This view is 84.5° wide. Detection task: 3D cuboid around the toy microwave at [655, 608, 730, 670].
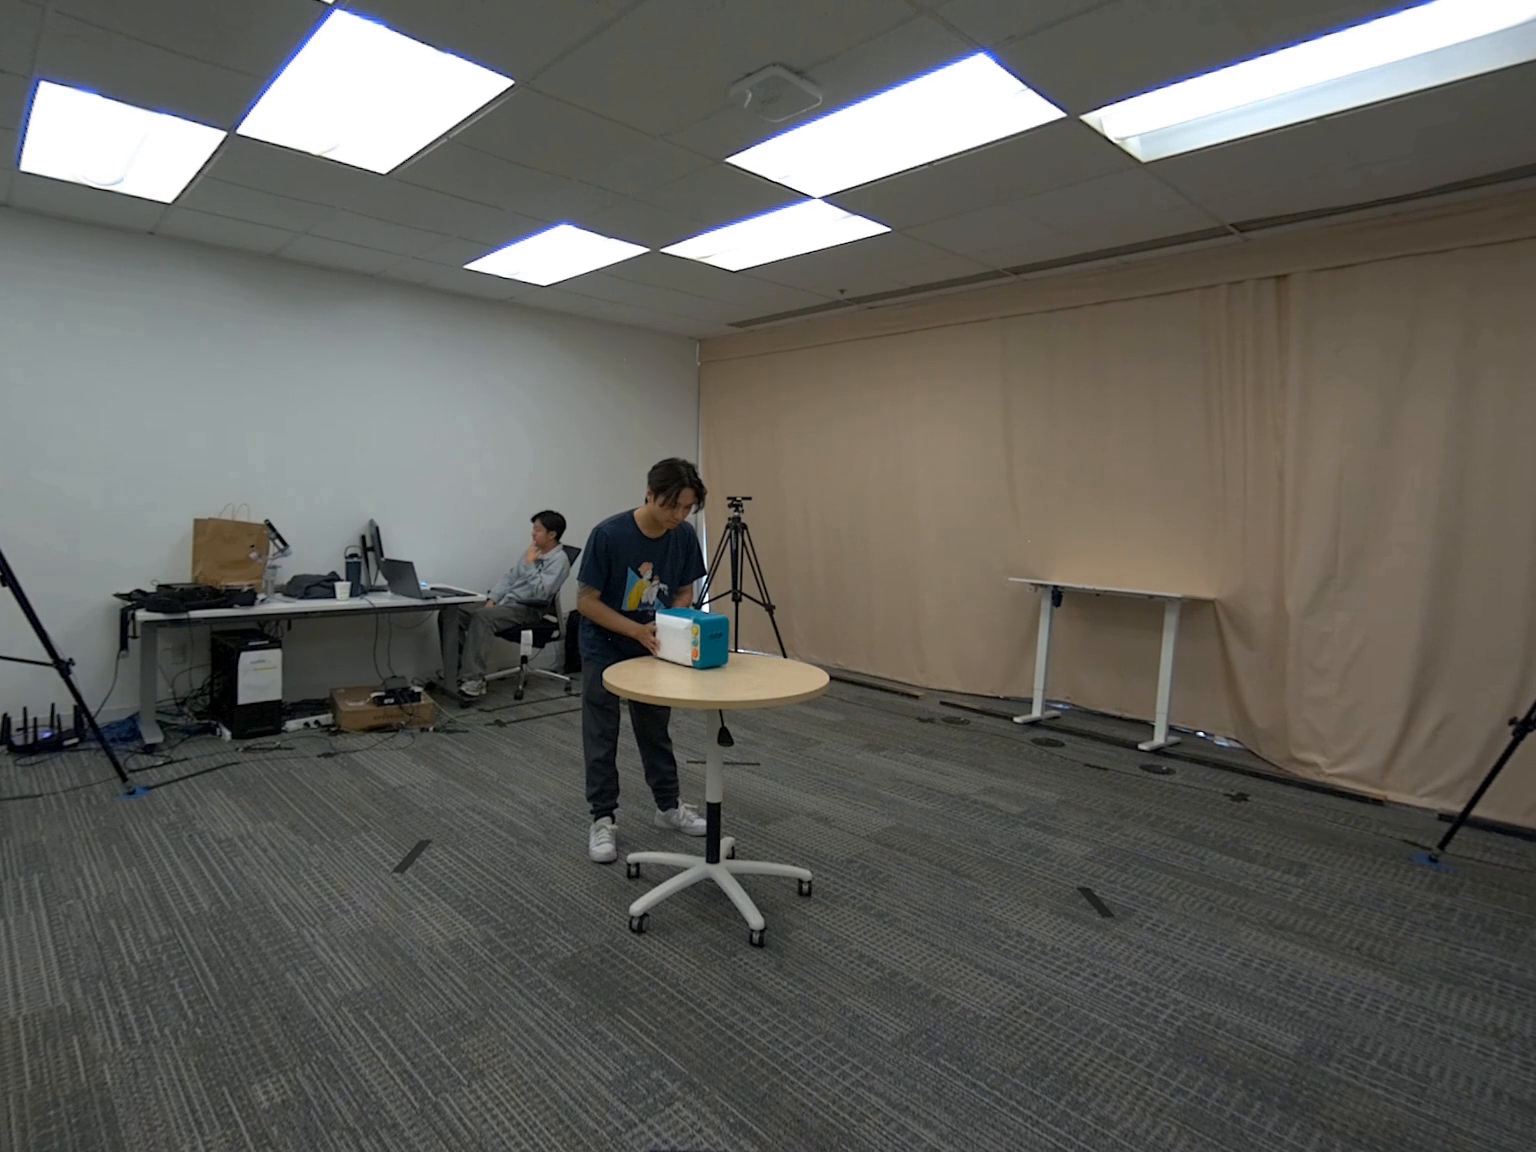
[{"bbox_3d":[-0.289,0.226,3.018,0.149,0.183,0.293,-3,6,-44],"label":"toy microwave"}]
